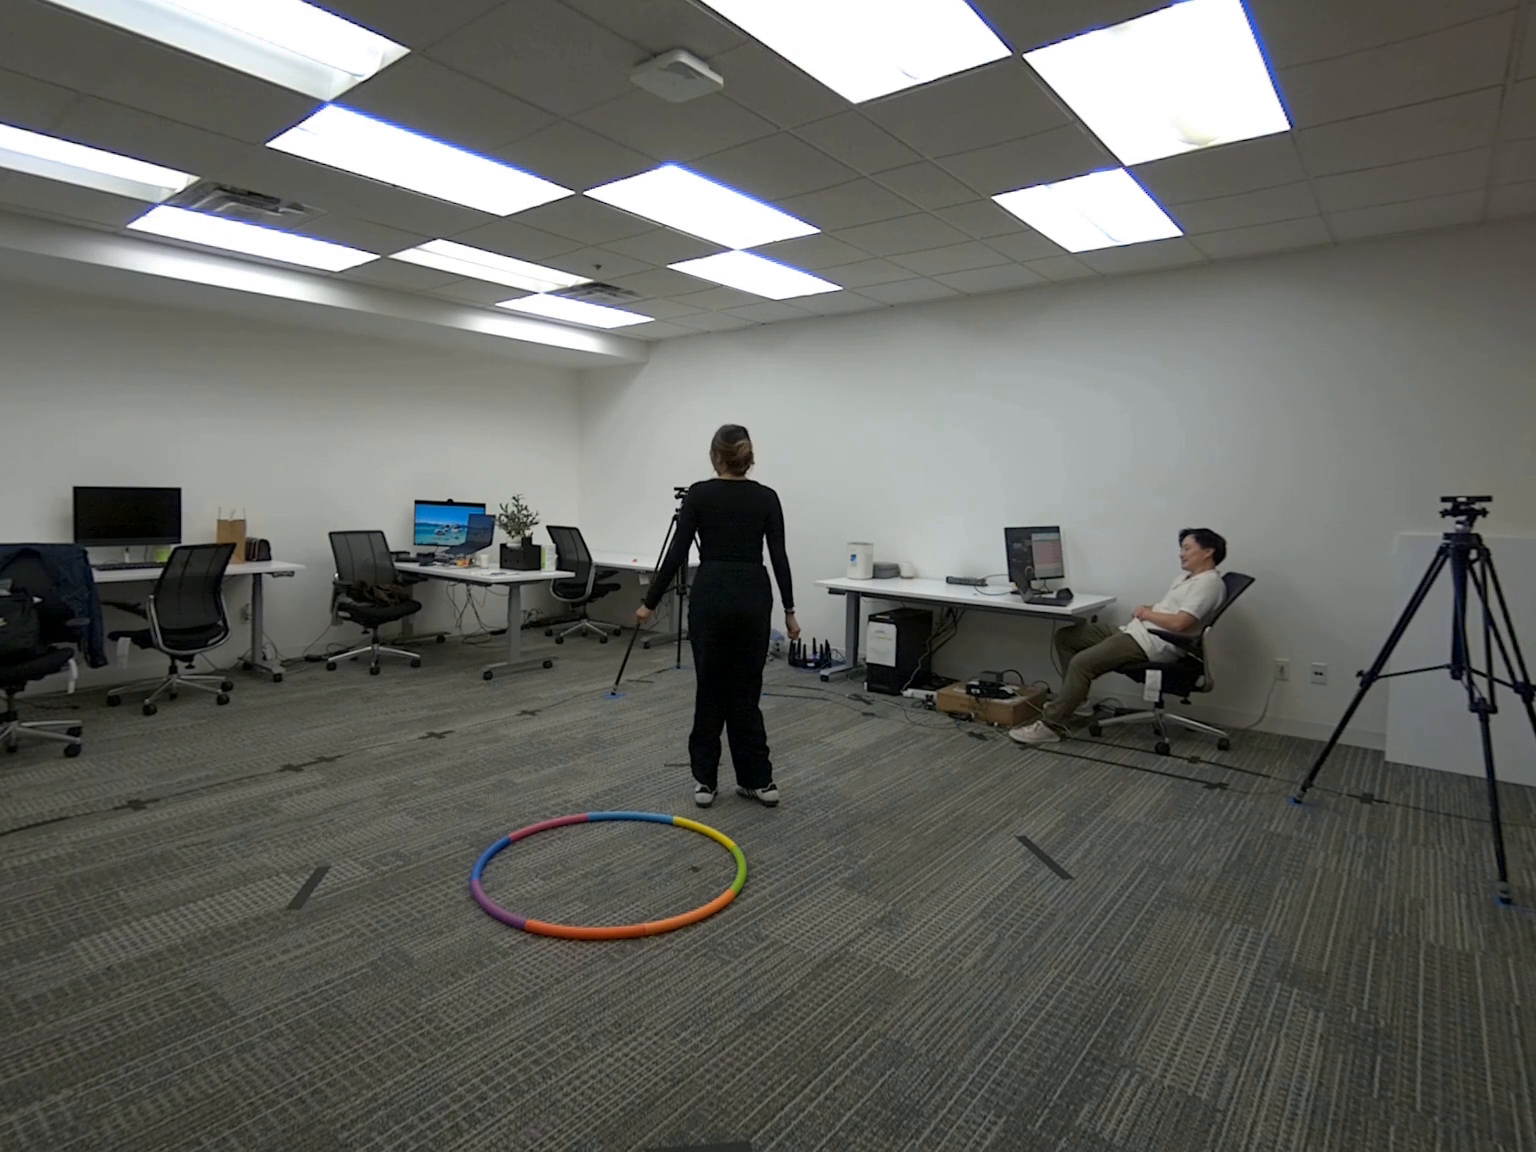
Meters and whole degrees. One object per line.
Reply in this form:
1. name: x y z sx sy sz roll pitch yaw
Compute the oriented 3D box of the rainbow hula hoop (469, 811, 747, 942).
1. rainbow hula hoop: -0.572 1.034 3.084 0.978 0.035 0.984 1 6 -2
